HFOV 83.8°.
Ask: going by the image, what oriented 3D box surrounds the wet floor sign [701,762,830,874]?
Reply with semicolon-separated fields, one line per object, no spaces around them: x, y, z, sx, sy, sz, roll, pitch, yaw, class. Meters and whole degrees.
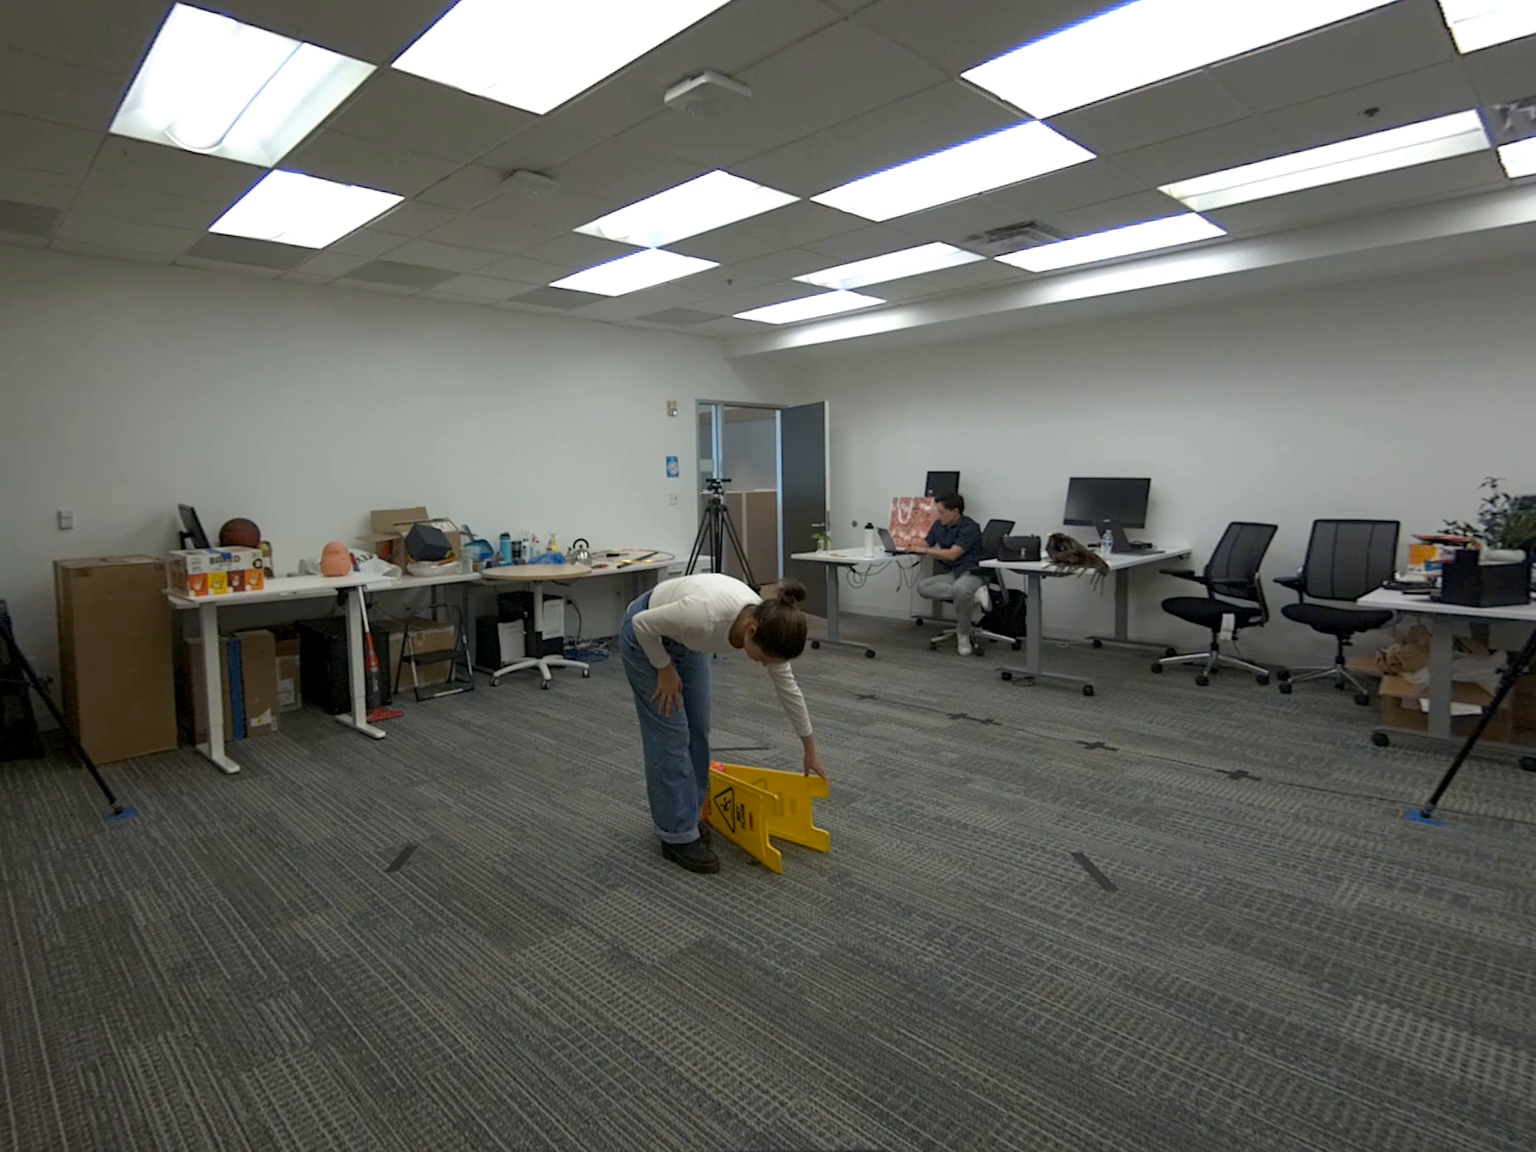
-0.099;0.888;3.335;0.282;0.281;0.665;-4;5;-43;wet floor sign
